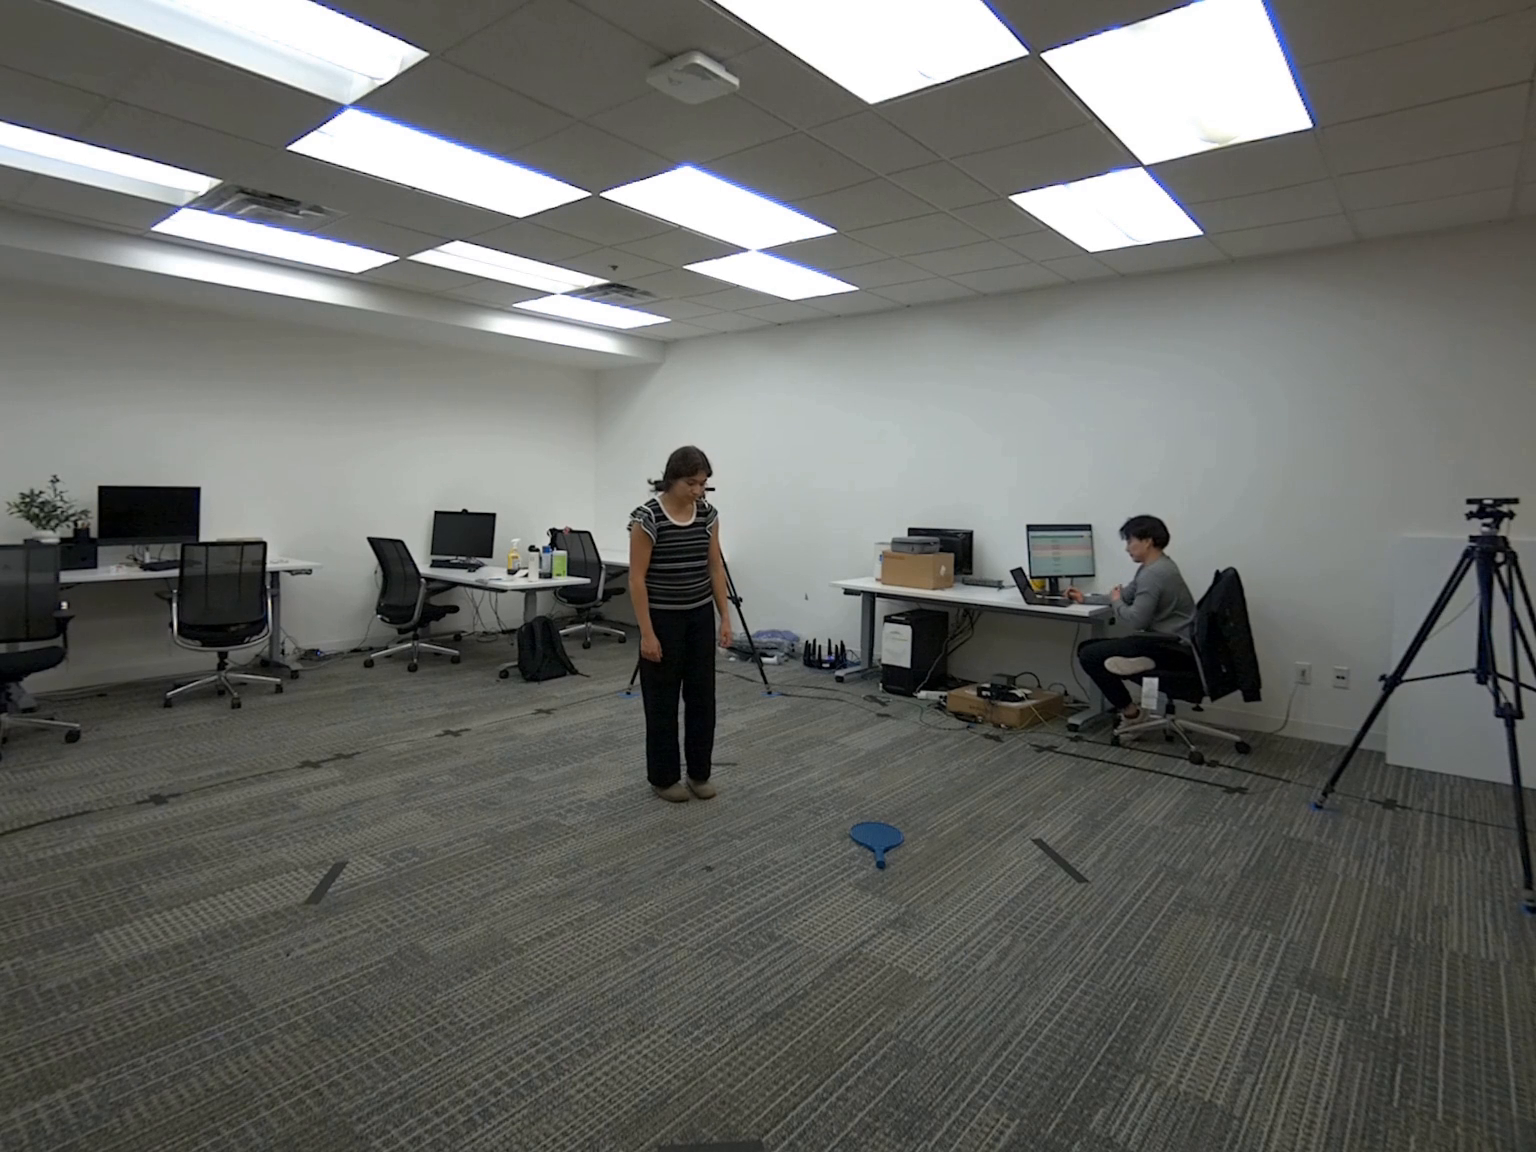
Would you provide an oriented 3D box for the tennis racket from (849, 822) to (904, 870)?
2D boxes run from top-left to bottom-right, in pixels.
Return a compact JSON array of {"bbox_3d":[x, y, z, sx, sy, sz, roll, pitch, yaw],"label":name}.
[{"bbox_3d":[0.421,1.043,3.349,0.215,0.031,0.432,1,4,2],"label":"tennis racket"}]
